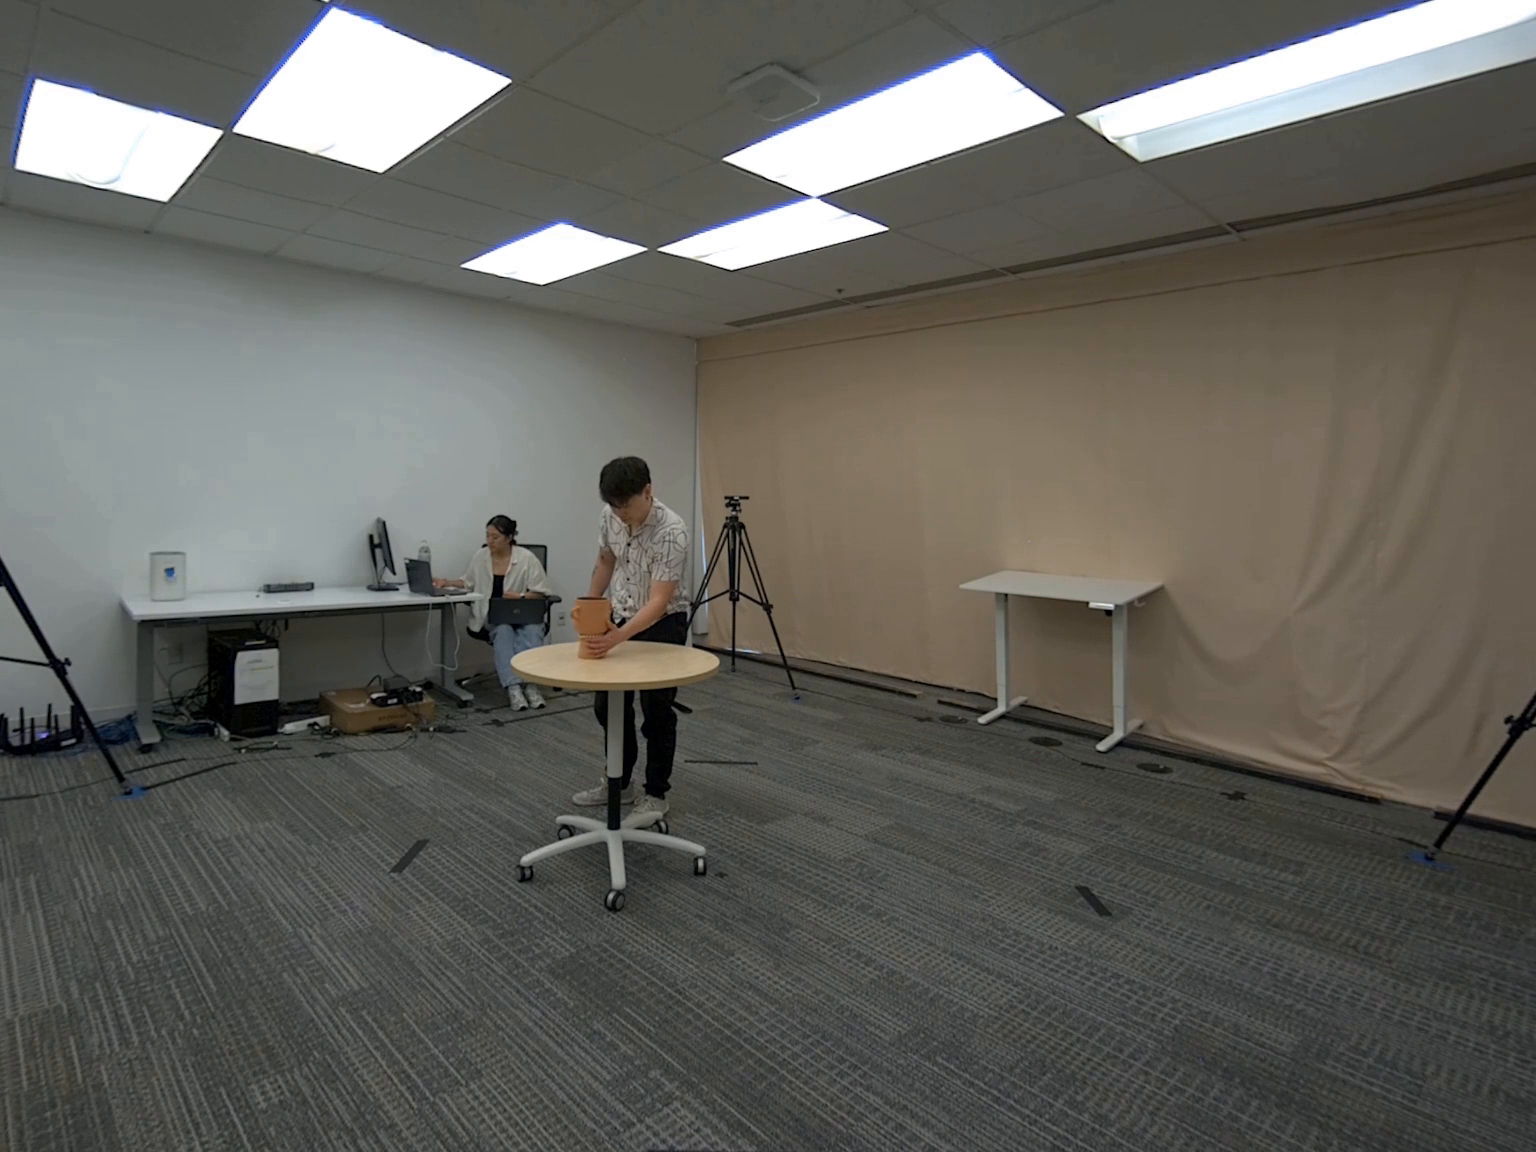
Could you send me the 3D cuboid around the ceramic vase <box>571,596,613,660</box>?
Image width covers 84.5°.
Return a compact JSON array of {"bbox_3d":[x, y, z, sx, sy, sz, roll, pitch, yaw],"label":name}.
[{"bbox_3d":[-0.690,0.196,3.155,0.157,0.219,0.136,0,4,-12],"label":"ceramic vase"}]
